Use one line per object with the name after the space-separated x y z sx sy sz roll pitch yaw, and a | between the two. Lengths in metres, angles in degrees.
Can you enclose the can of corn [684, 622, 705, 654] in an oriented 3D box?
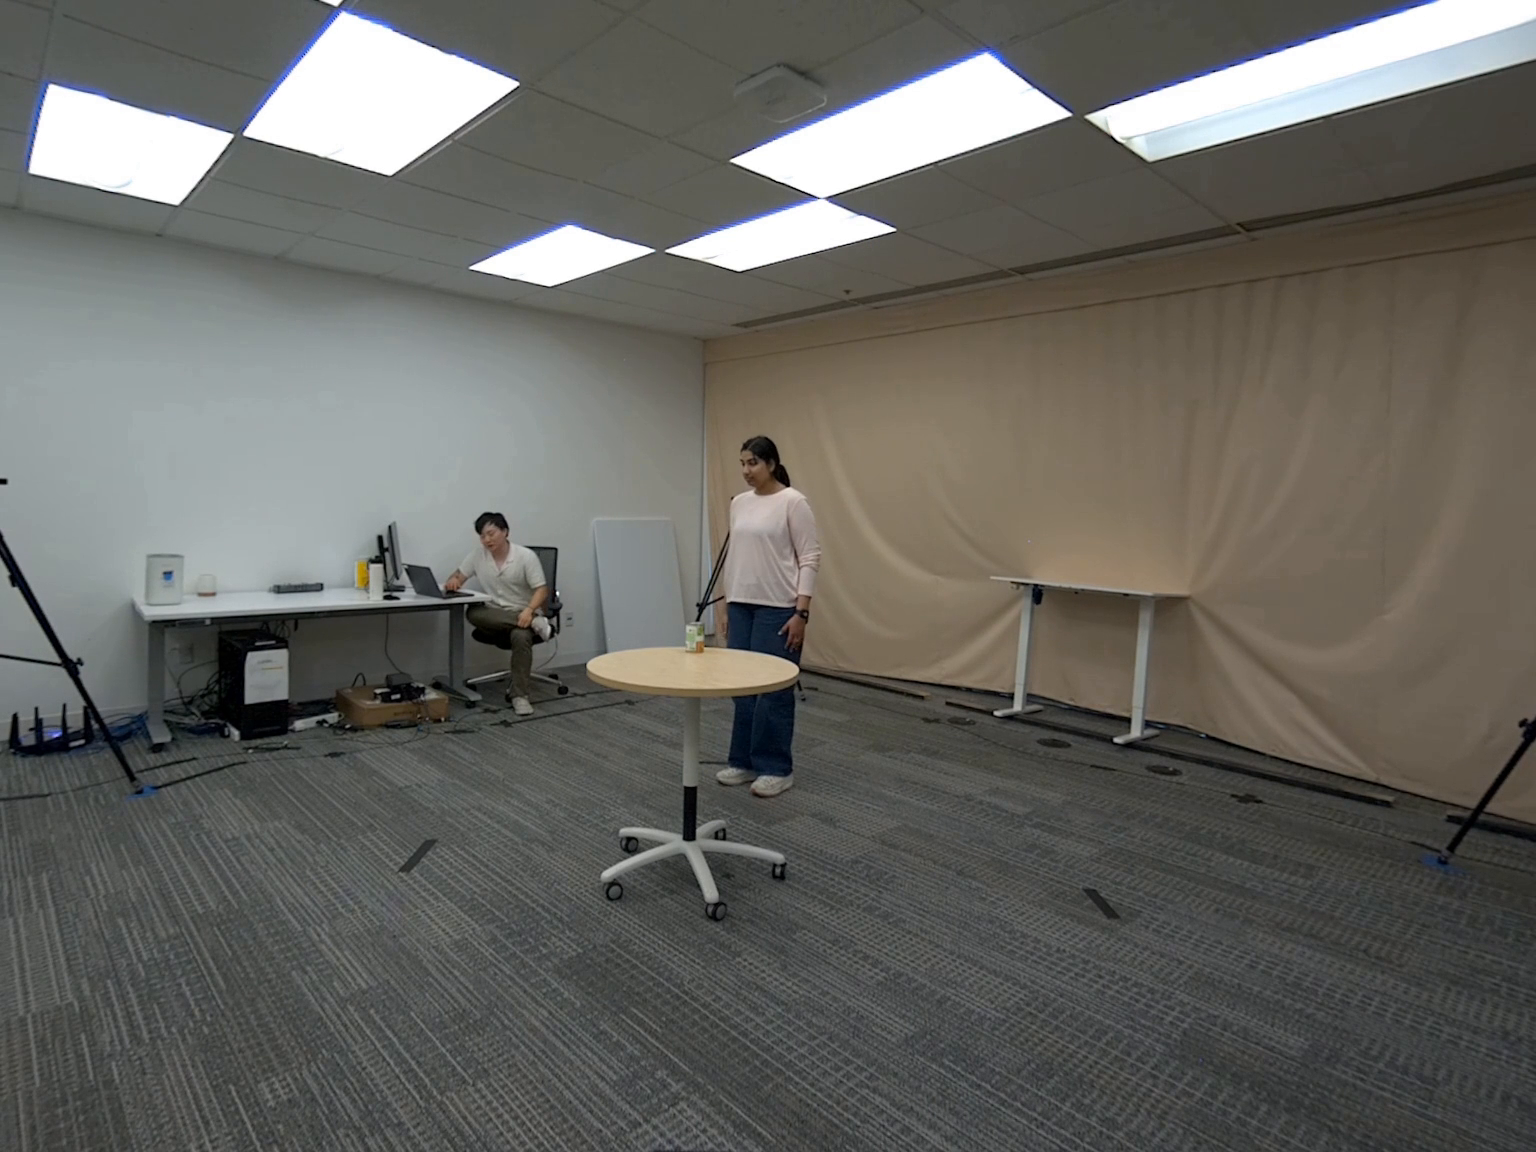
-0.300 0.244 3.325 0.074 0.111 0.074 3 4 -2 | can of corn
